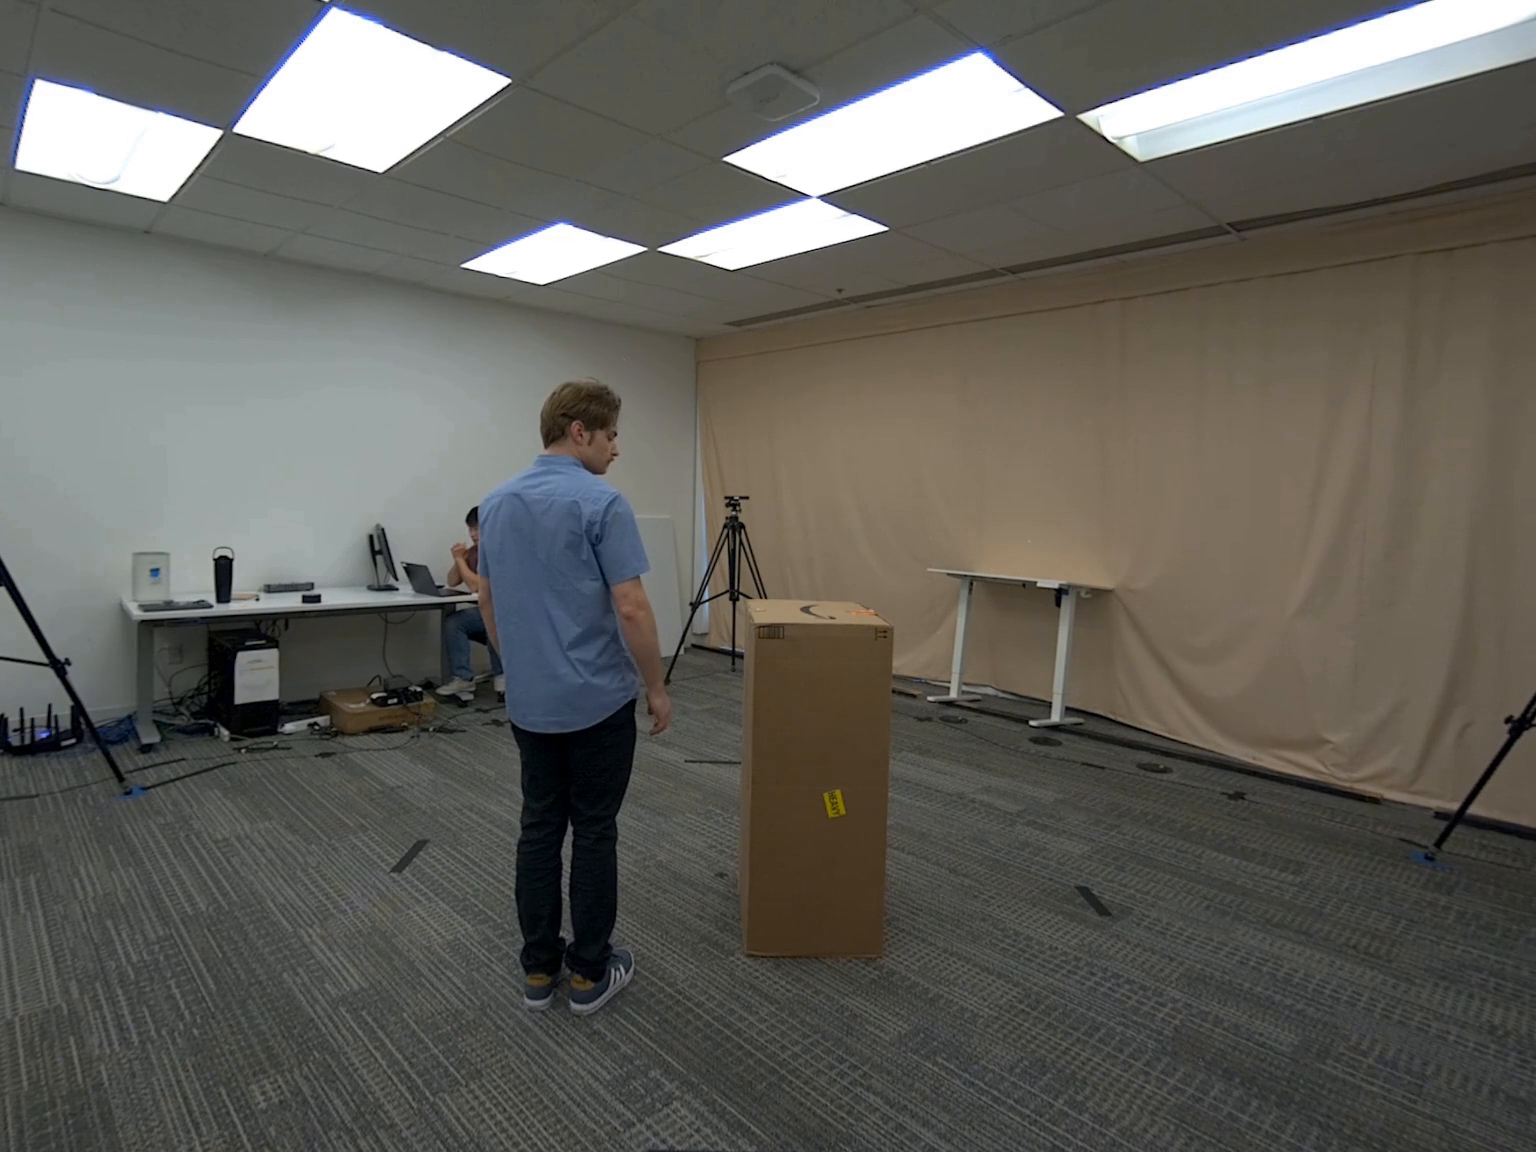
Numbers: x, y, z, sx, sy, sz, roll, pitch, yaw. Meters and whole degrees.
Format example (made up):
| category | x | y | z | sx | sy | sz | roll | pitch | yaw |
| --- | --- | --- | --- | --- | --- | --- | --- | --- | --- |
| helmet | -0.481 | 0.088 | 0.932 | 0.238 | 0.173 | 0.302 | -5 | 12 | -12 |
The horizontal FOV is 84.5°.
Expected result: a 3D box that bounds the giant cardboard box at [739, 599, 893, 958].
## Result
| category | x | y | z | sx | sy | sz | roll | pitch | yaw |
| --- | --- | --- | --- | --- | --- | --- | --- | --- | --- |
| giant cardboard box | 0.134 | 0.628 | 2.815 | 0.425 | 1.023 | 0.580 | 1 | 3 | -3 |
